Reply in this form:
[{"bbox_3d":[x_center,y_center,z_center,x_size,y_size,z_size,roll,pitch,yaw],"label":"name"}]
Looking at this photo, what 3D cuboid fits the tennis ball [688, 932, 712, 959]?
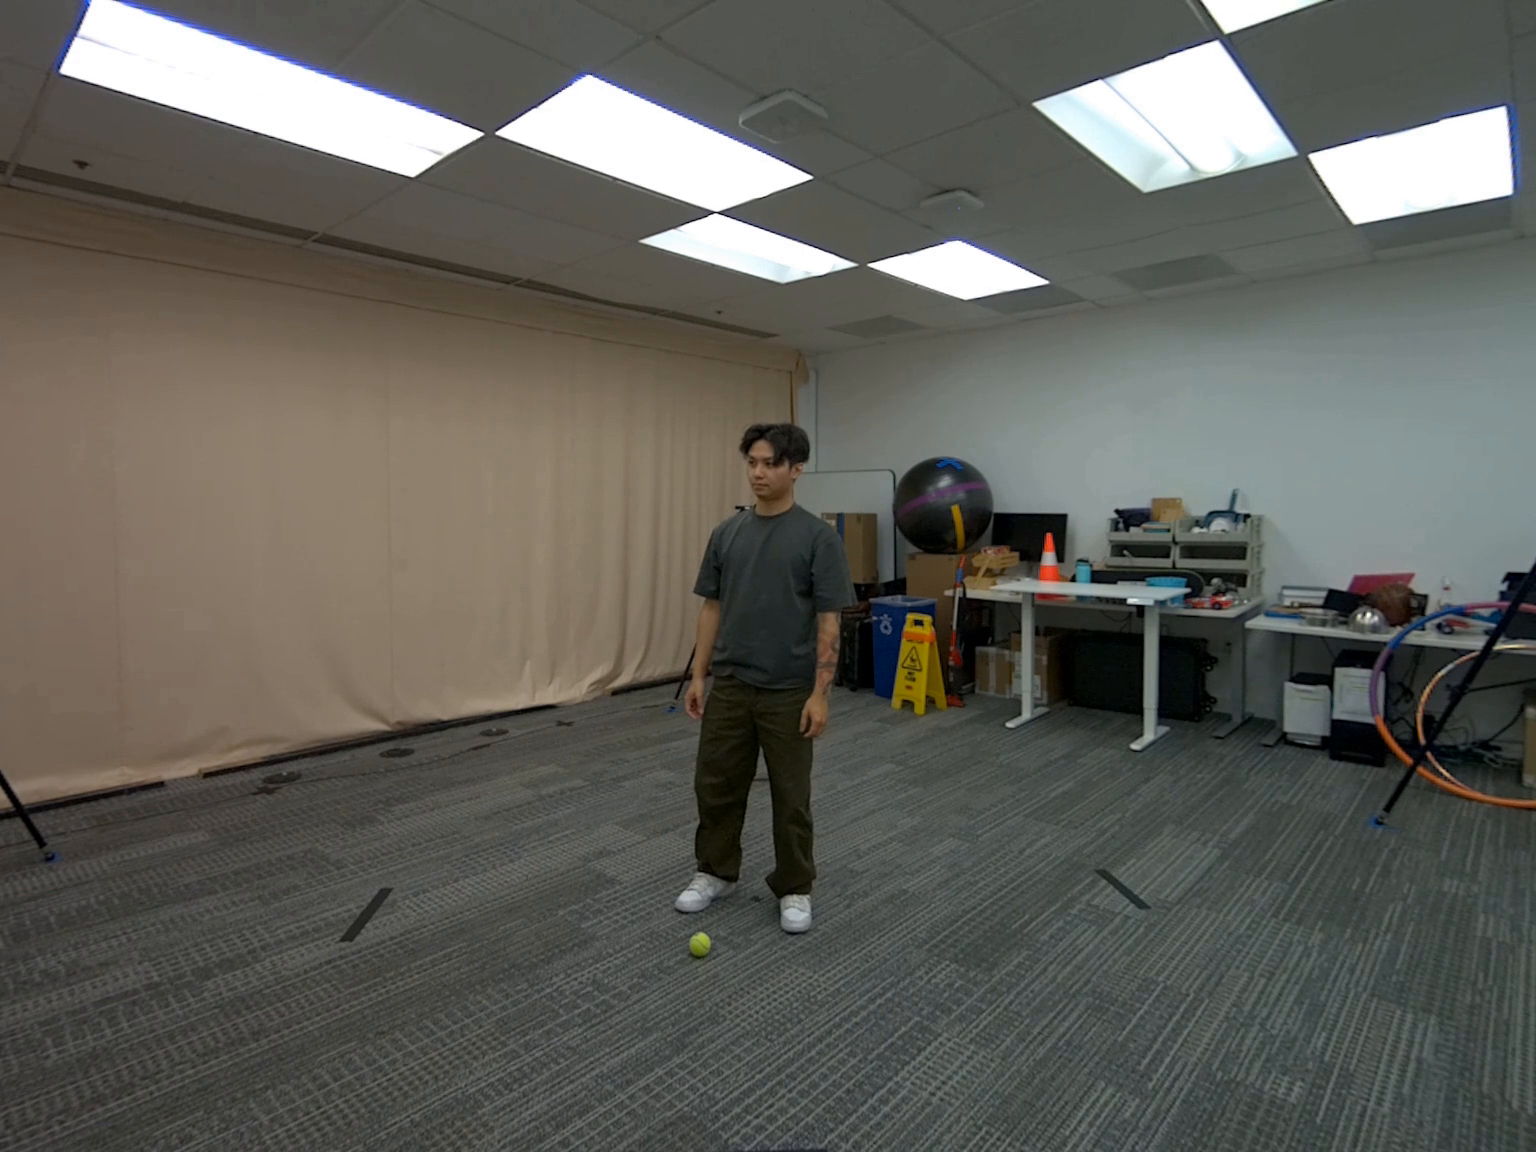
[{"bbox_3d":[-0.211,1.128,2.604,0.066,0.066,0.067,0,4,-2],"label":"tennis ball"}]
